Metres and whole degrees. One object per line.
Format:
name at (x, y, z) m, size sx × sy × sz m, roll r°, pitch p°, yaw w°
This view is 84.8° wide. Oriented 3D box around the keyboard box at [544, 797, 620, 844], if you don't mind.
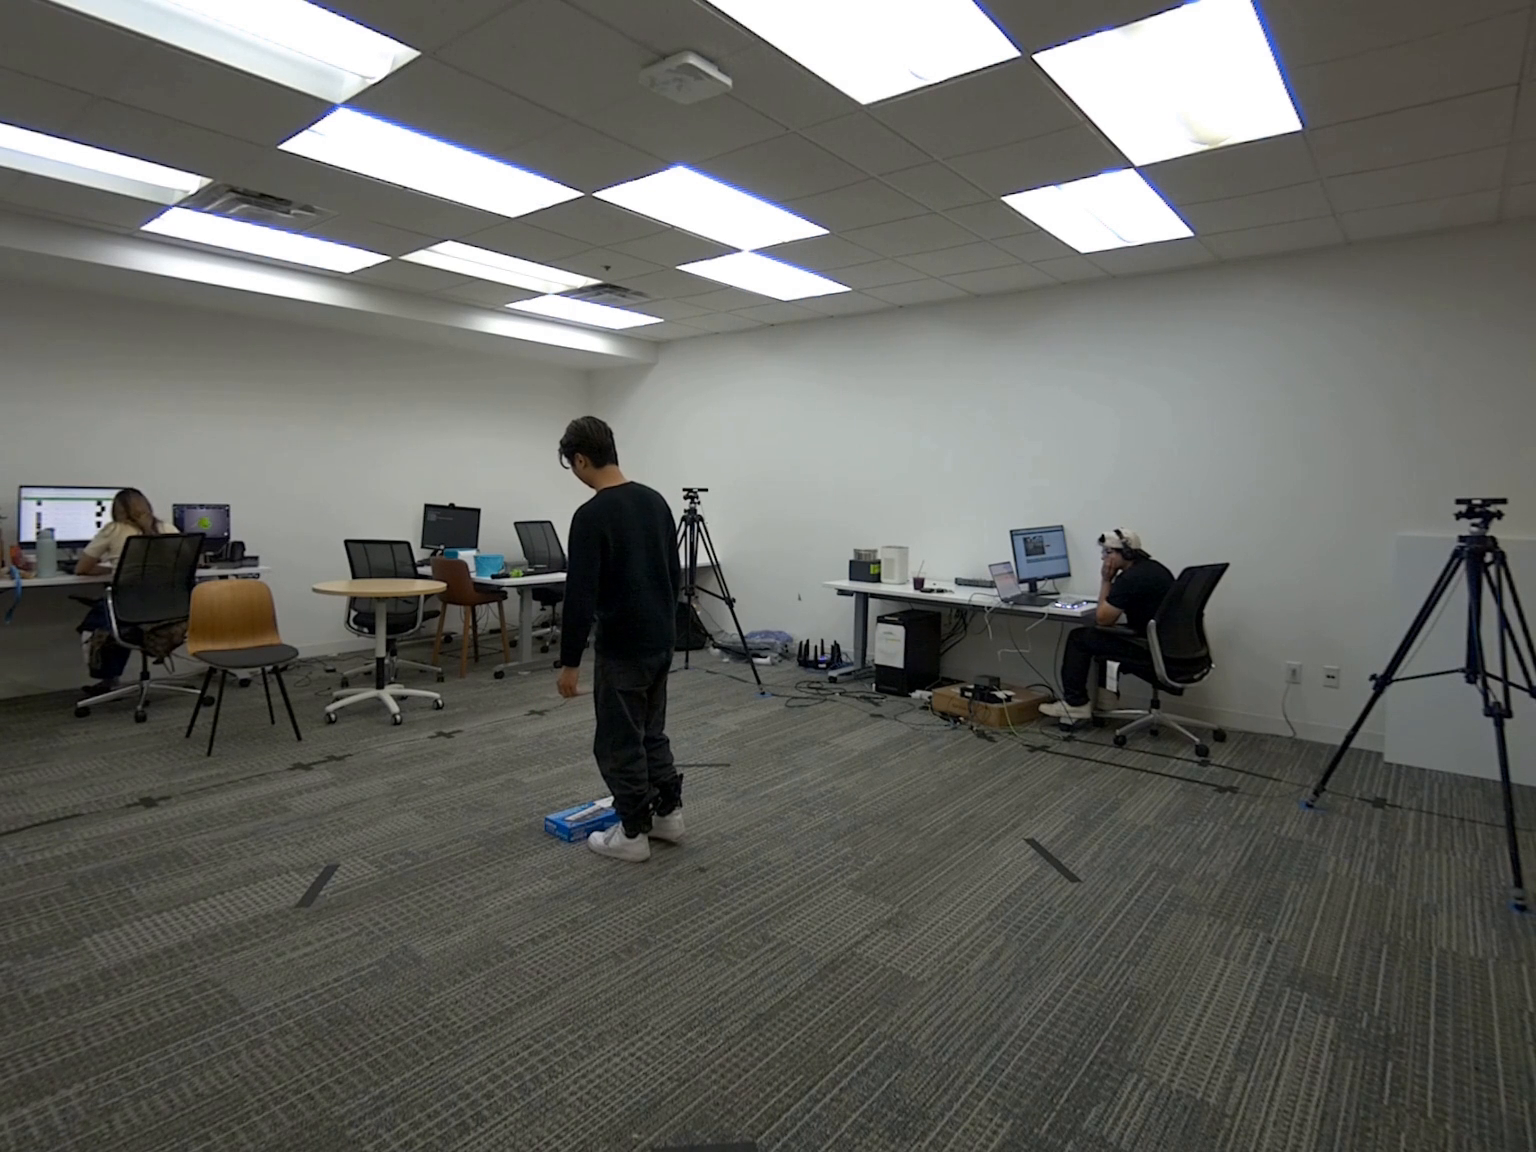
keyboard box at (-0.711, 0.989, 3.526) m, size 0.182 × 0.059 × 0.424 m, roll 5°, pitch 7°, yaw 43°
